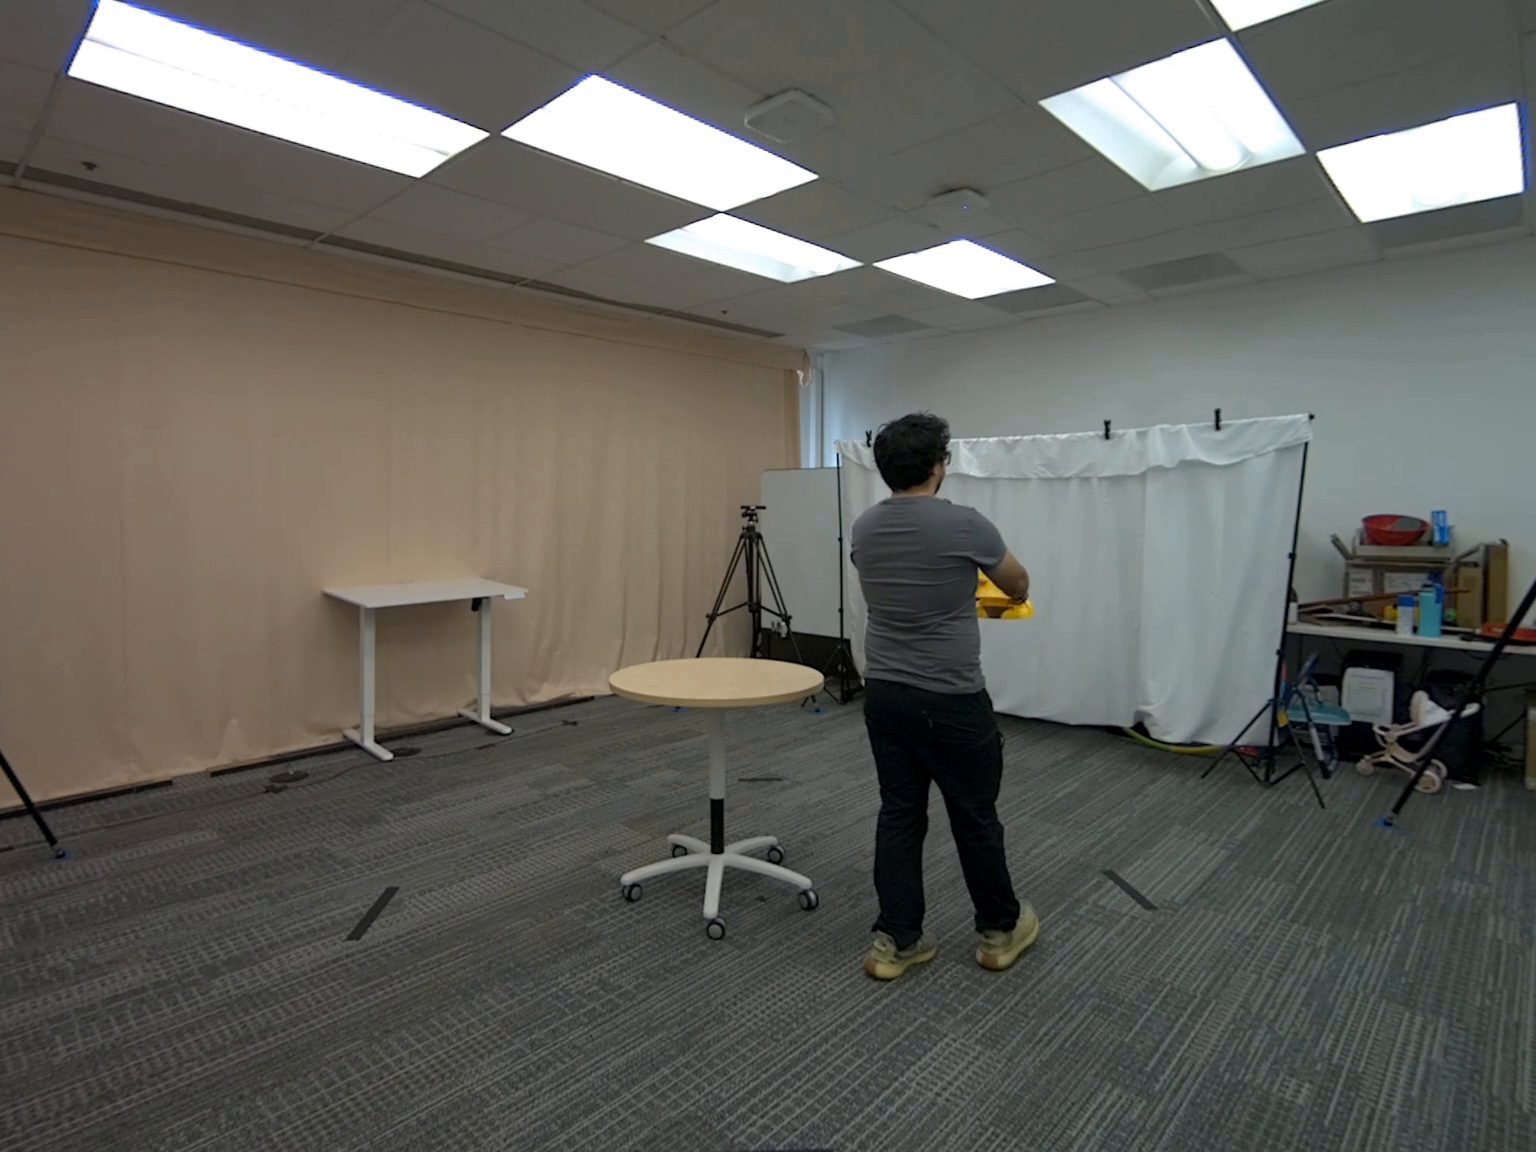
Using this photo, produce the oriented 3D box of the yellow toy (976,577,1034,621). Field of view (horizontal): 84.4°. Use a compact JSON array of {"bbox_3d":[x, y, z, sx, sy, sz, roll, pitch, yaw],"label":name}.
[{"bbox_3d":[0.825,0.024,2.967,0.211,0.230,0.188,0,7,39],"label":"yellow toy"}]
